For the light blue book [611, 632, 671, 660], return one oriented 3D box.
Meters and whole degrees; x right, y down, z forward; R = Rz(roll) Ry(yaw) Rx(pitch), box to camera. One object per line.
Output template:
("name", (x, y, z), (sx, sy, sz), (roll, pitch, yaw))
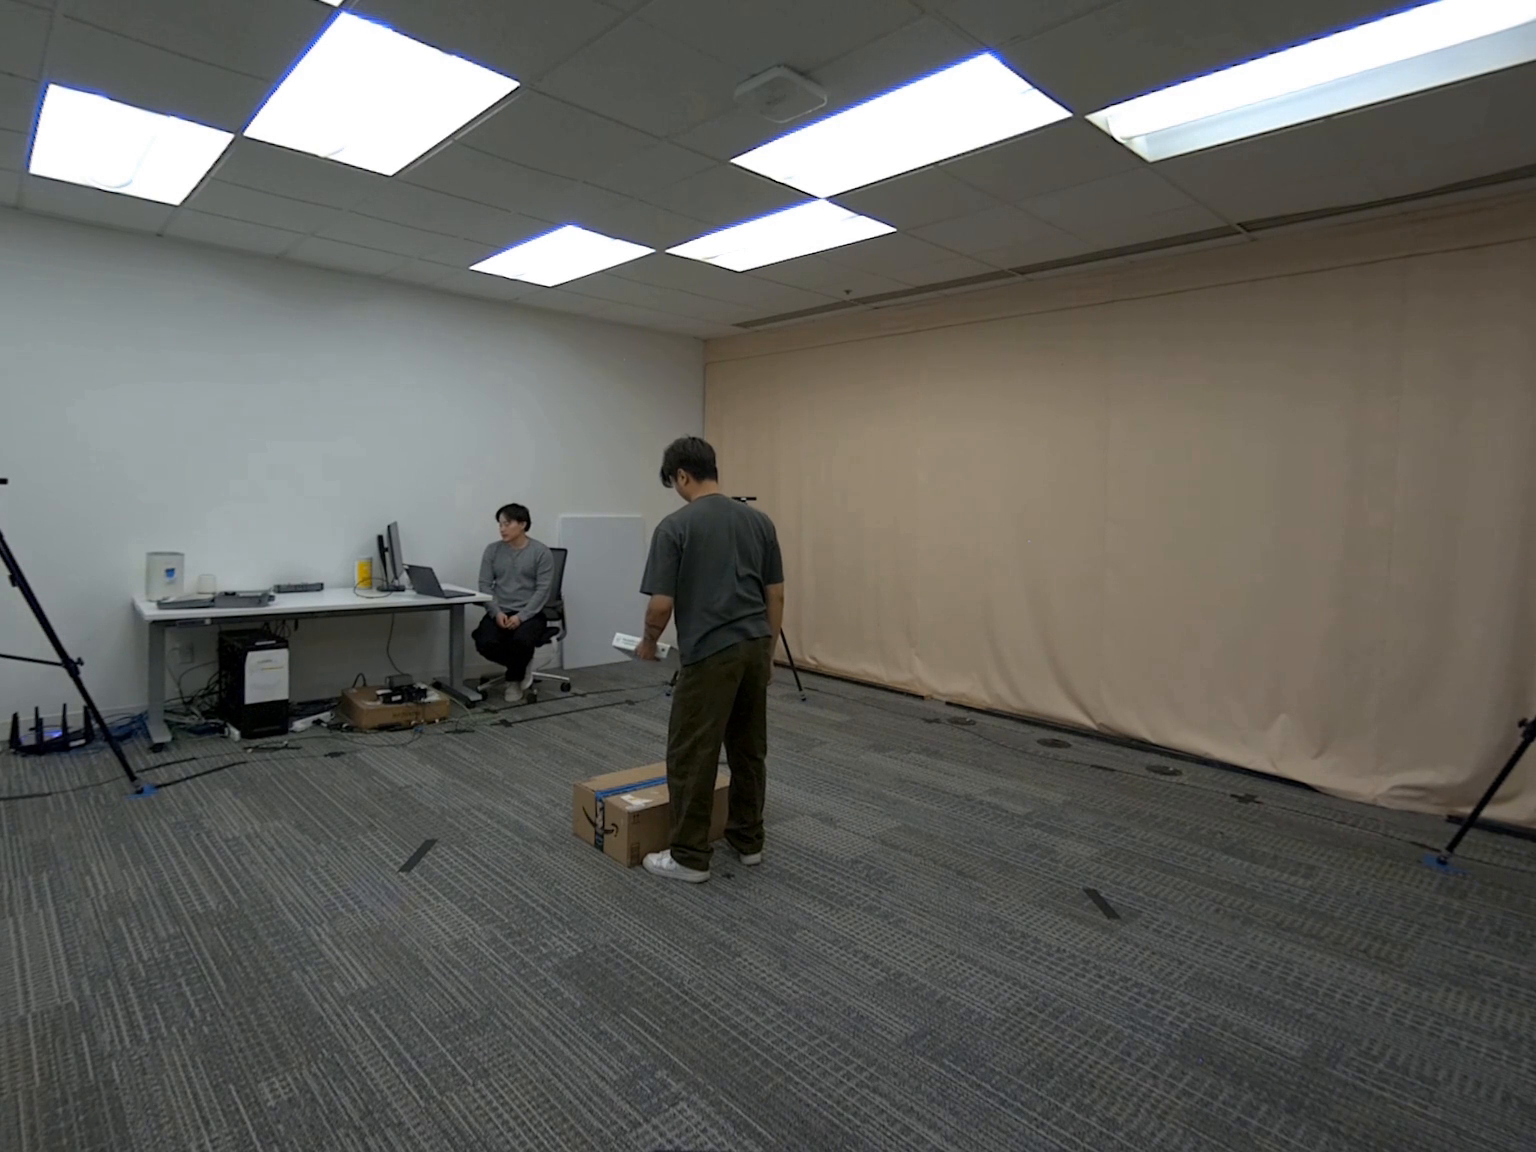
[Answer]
("light blue book", (-0.466, 0.305, 3.343), (0.266, 0.059, 0.186), (11, -17, 25))
